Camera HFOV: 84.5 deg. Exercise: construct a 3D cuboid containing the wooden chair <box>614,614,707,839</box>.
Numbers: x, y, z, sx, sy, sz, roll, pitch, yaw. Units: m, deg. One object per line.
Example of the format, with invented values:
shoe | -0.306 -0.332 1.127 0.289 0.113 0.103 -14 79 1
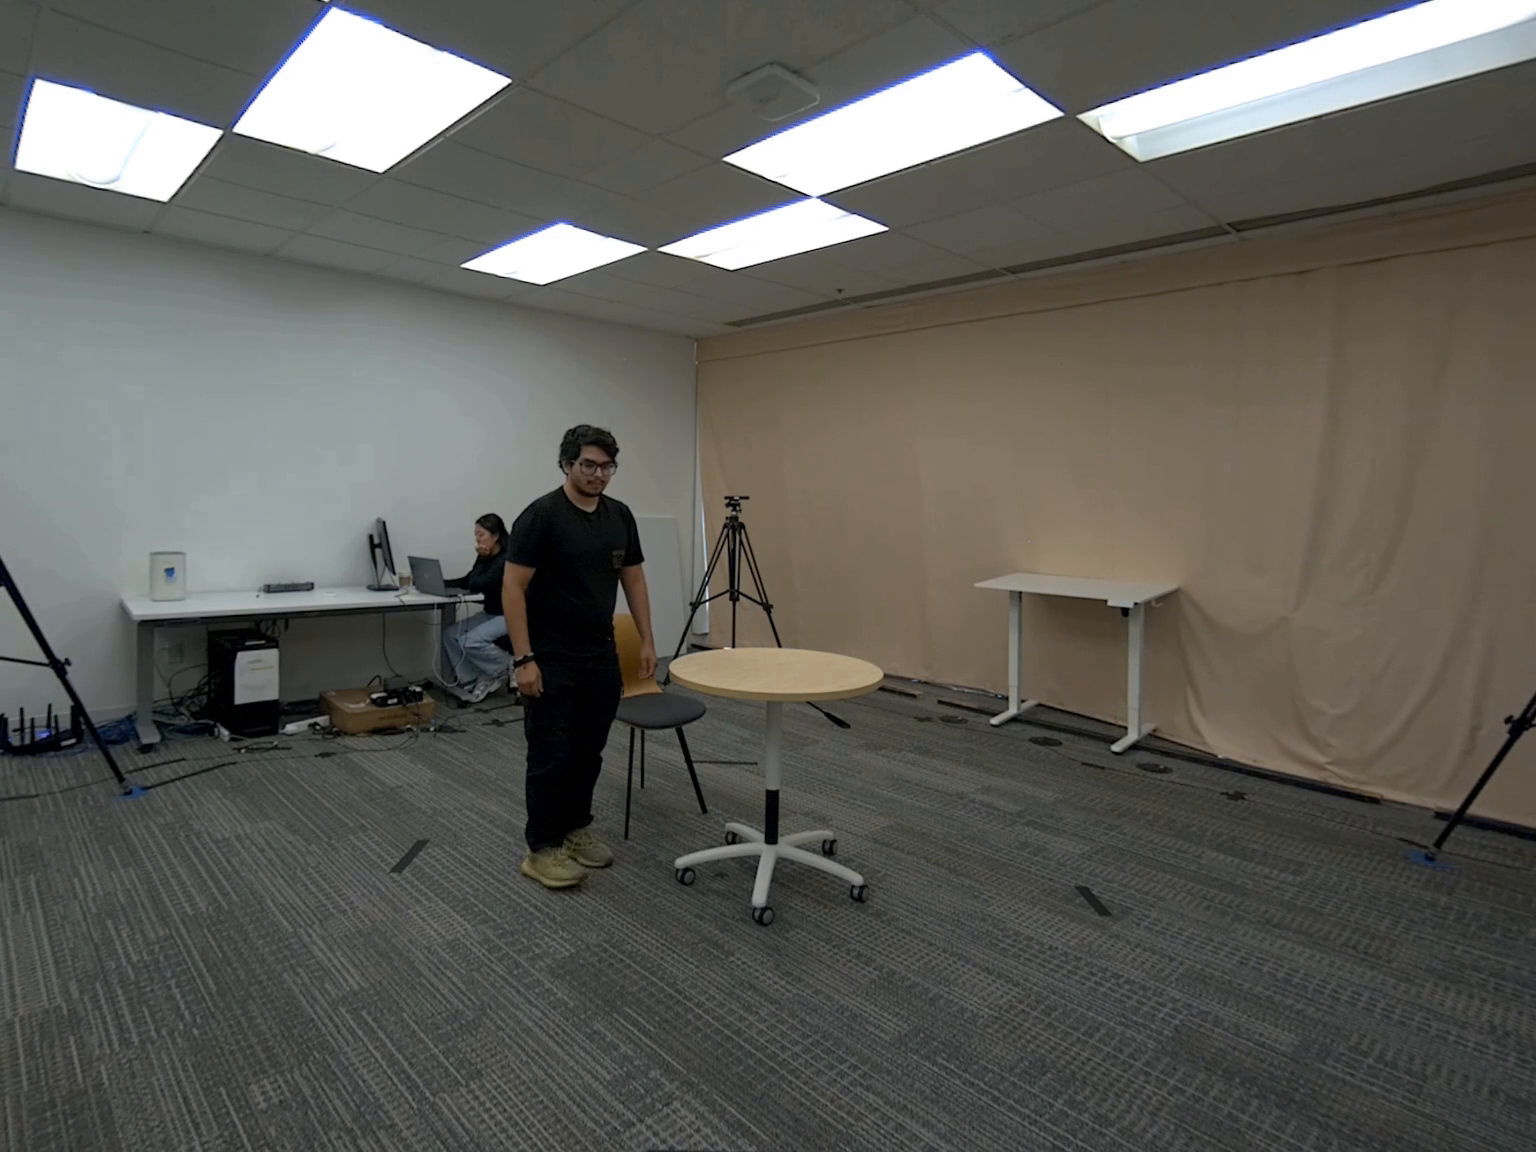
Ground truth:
wooden chair | -0.574 0.613 3.684 0.535 0.878 0.467 -1 0 44
